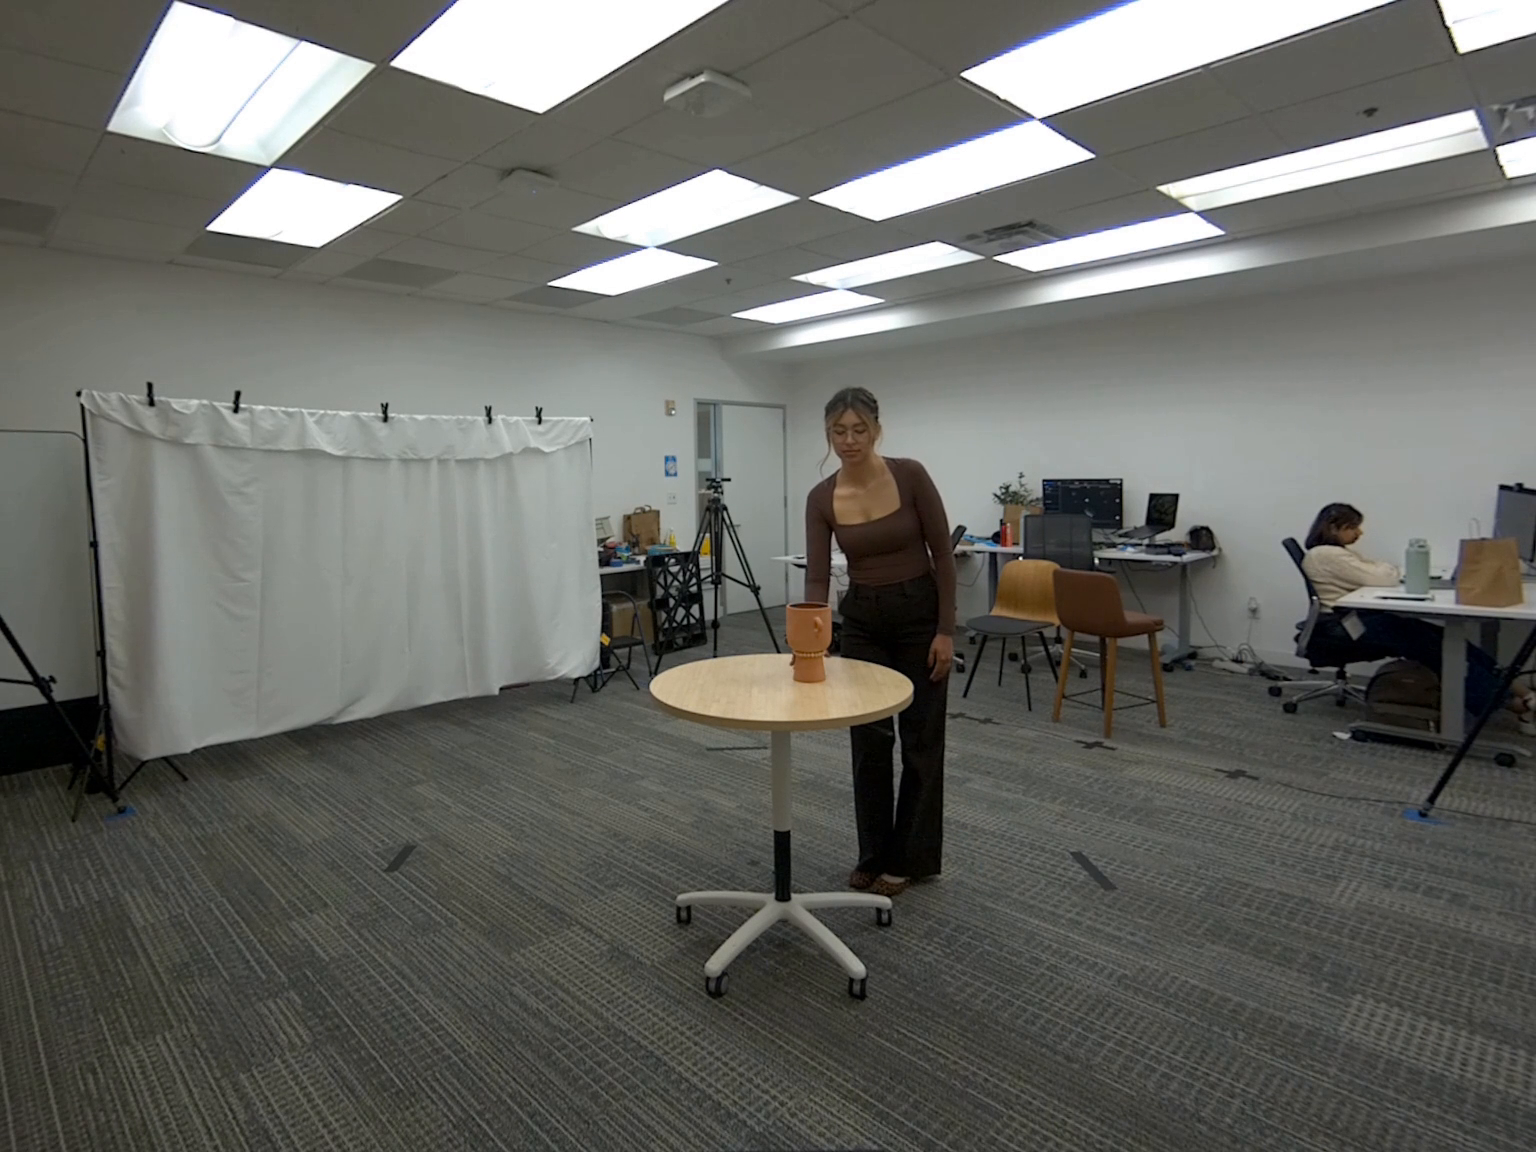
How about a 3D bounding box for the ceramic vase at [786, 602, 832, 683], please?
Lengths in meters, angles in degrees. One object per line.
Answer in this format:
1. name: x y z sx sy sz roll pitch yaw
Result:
1. ceramic vase: 0.126 0.197 2.543 0.137 0.218 0.156 2 8 22
